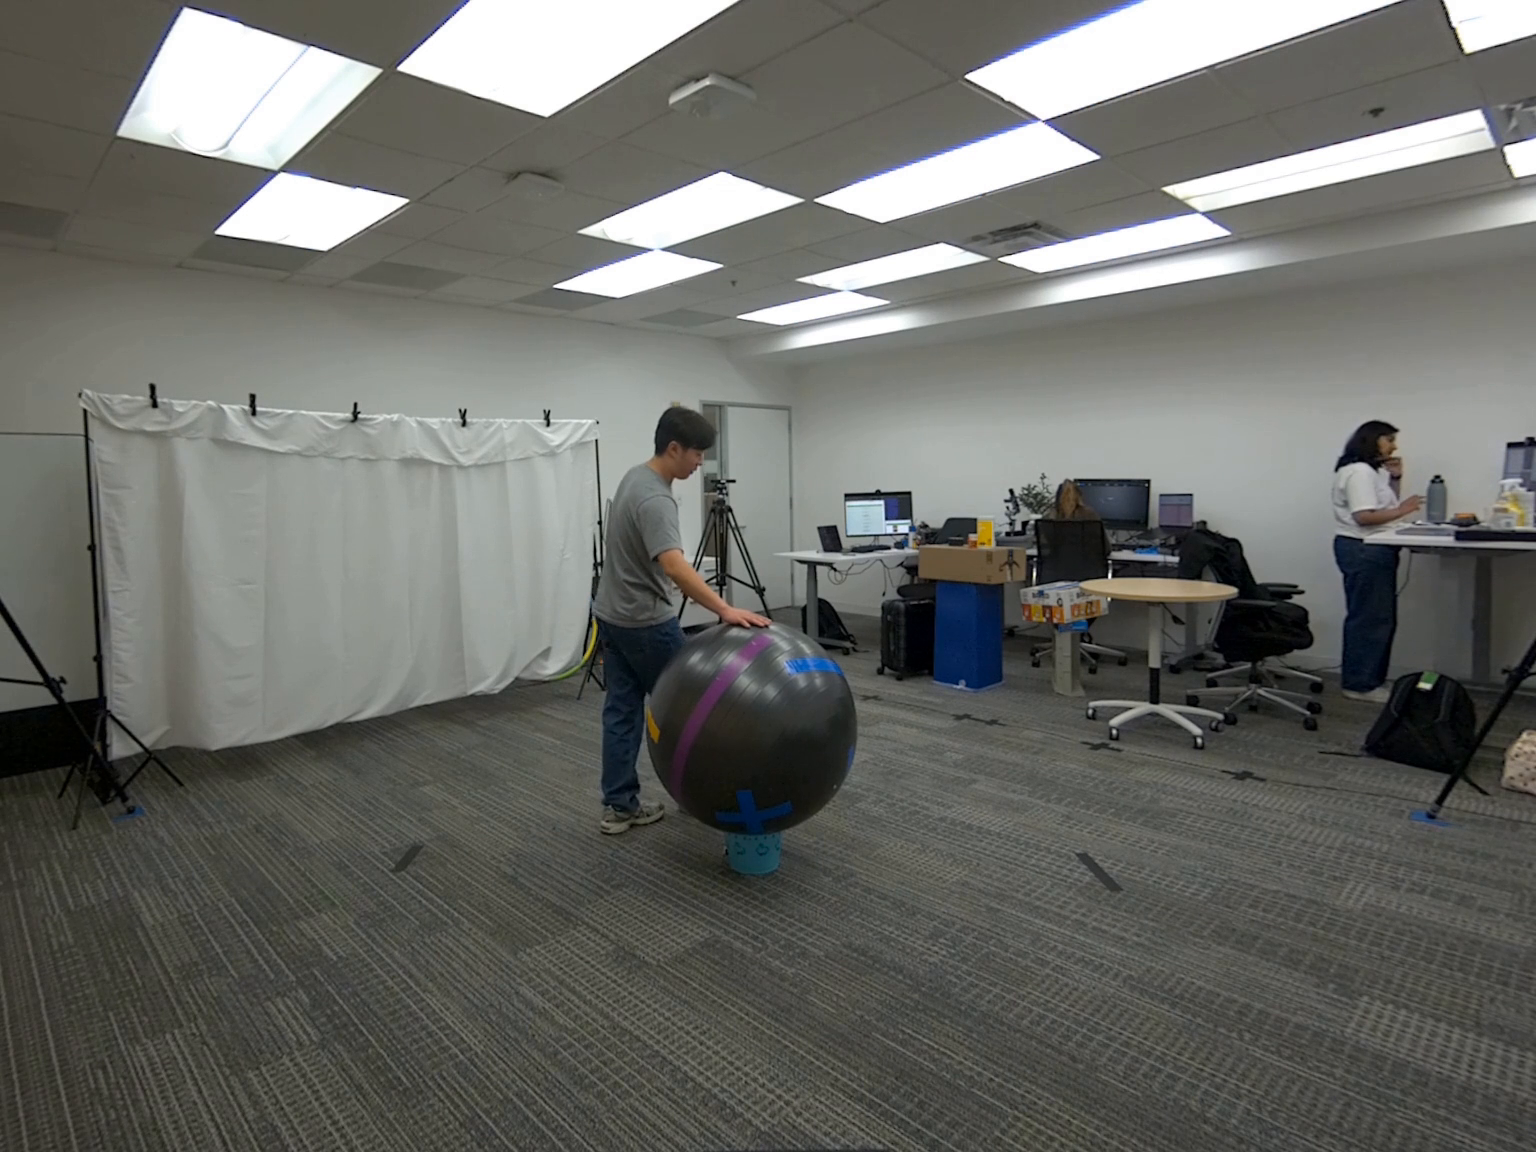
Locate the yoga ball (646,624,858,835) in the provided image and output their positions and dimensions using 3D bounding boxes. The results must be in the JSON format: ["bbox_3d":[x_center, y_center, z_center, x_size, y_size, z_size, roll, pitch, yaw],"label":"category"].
[{"bbox_3d":[-0.062,0.539,3.083,0.757,0.755,0.762,-1,5,-2],"label":"yoga ball"}]
